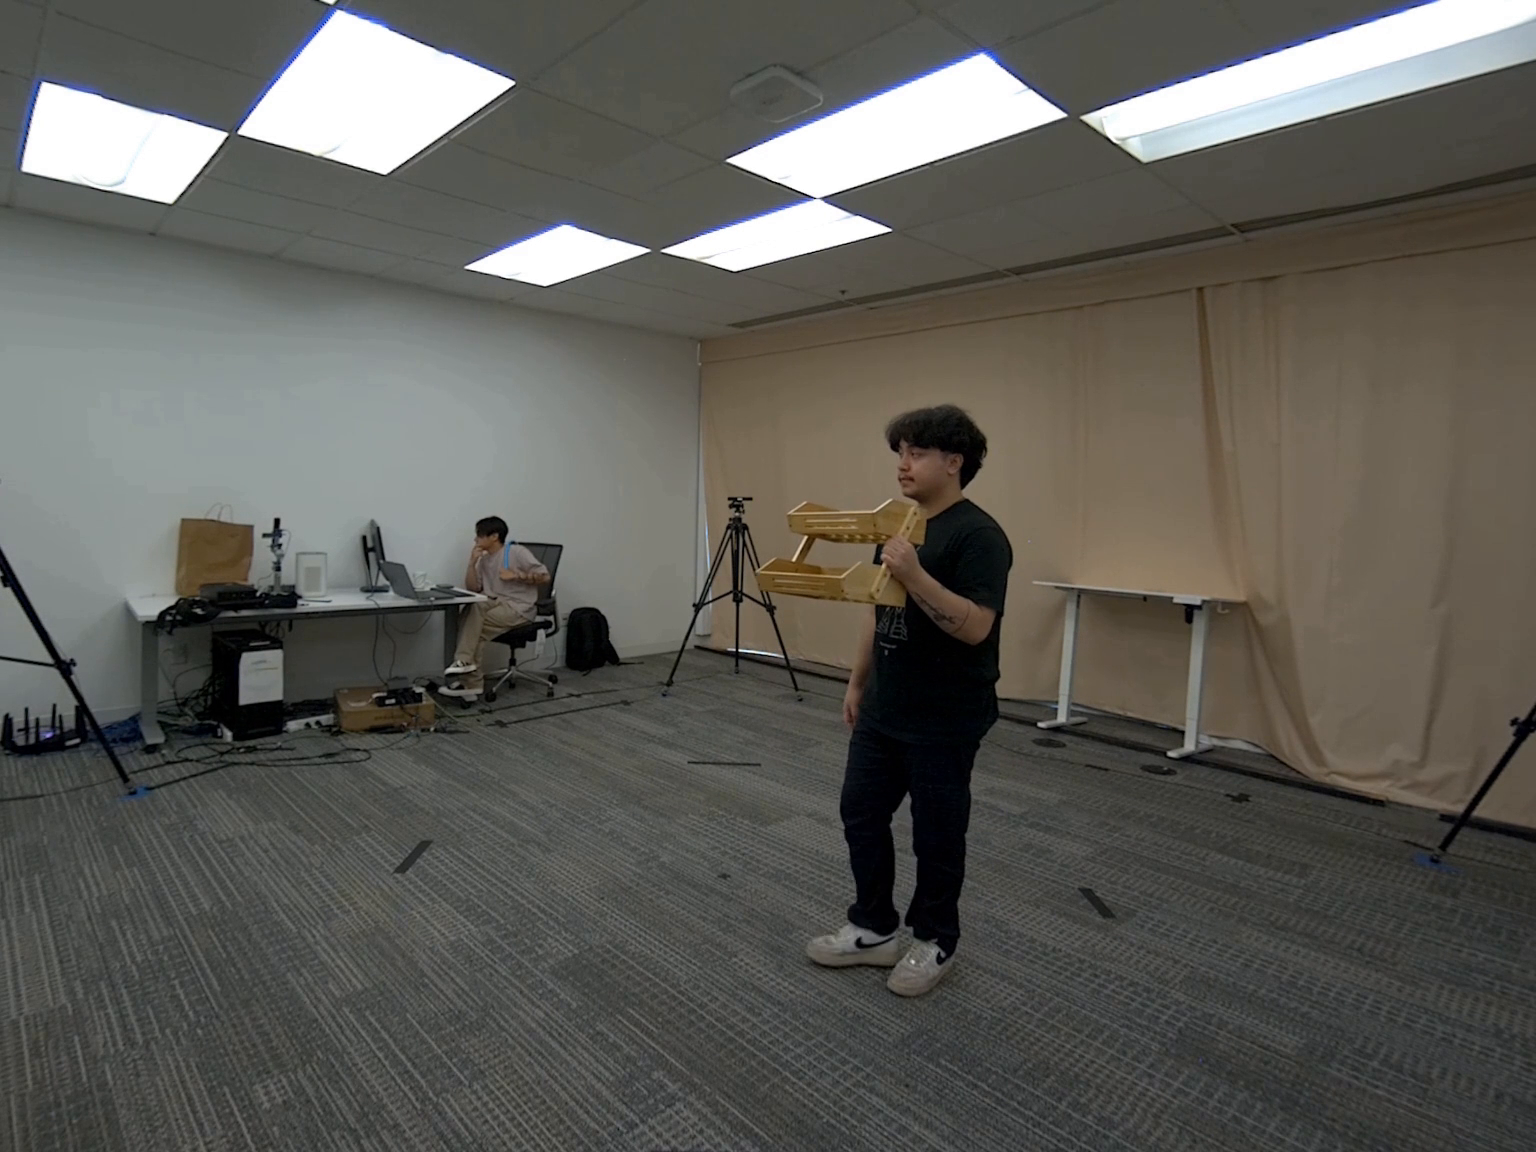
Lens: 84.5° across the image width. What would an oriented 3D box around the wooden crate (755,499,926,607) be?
[{"bbox_3d":[0.185,-0.070,2.188,0.294,0.274,0.332,11,-5,-42],"label":"wooden crate"}]
